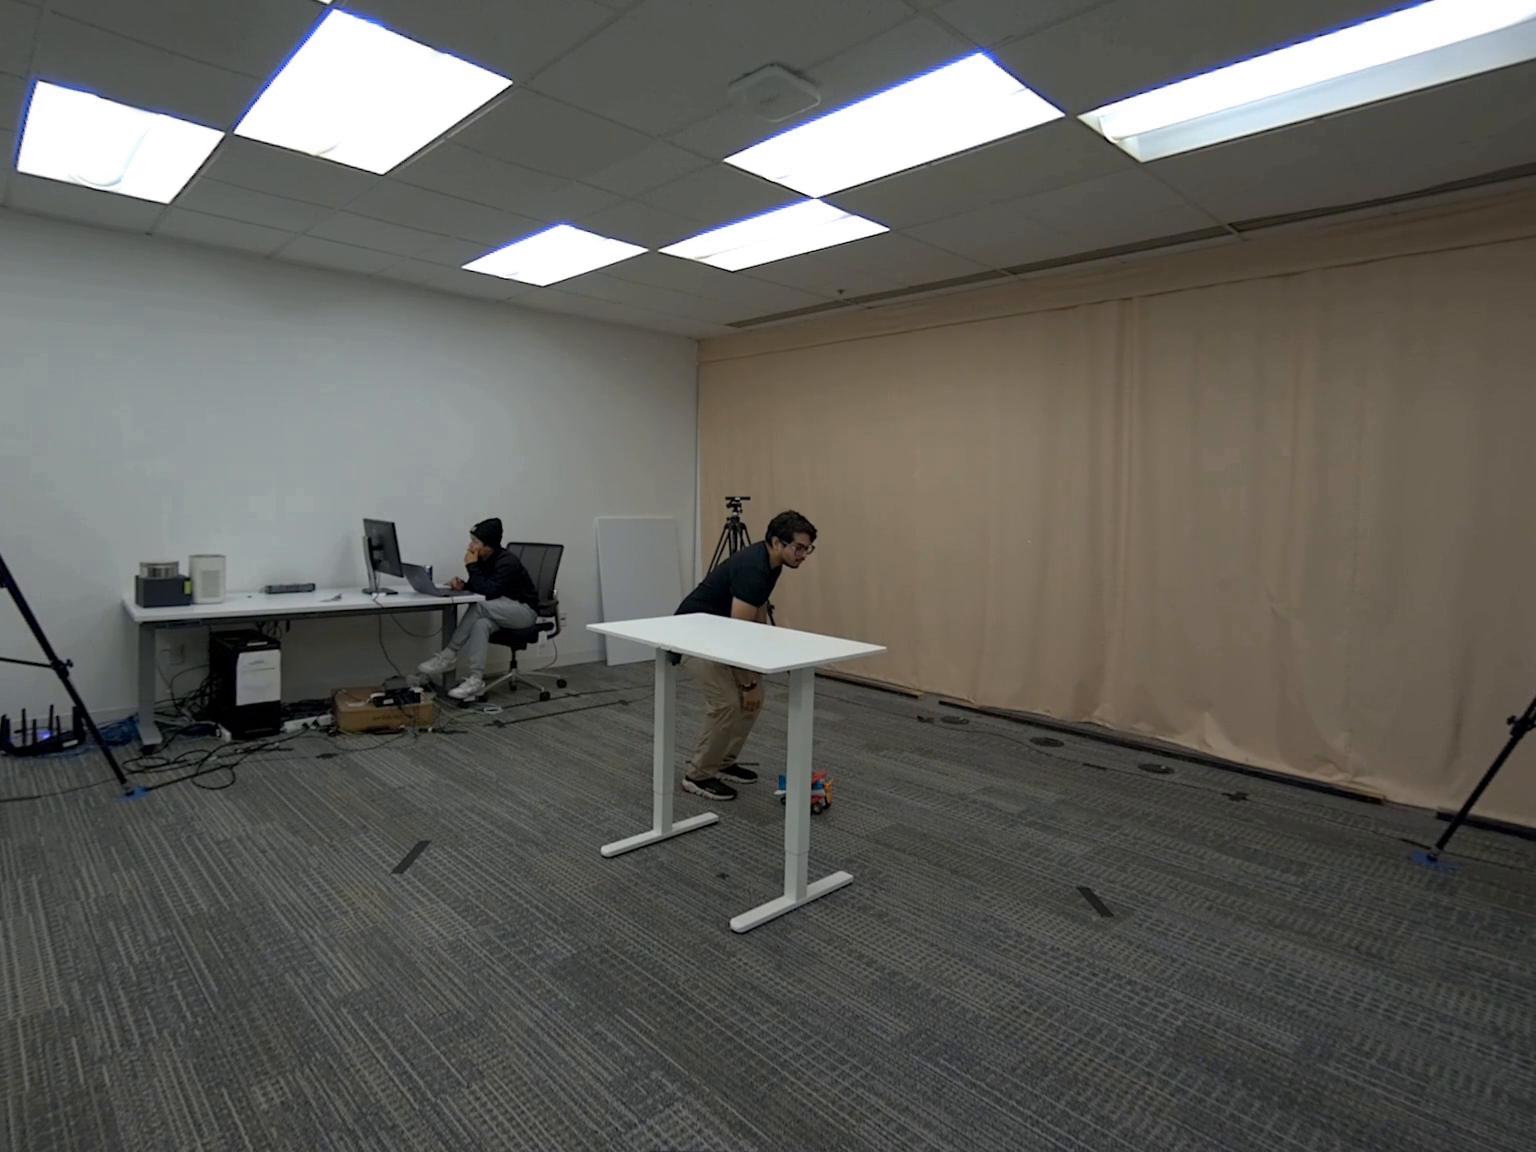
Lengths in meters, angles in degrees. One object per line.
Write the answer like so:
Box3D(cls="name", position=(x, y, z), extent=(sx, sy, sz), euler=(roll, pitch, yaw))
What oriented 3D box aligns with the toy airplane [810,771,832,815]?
Box3D(cls="toy airplane", position=(0.151, 0.979, 3.809), extent=(0.260, 0.156, 0.251), euler=(3, 4, 2))
